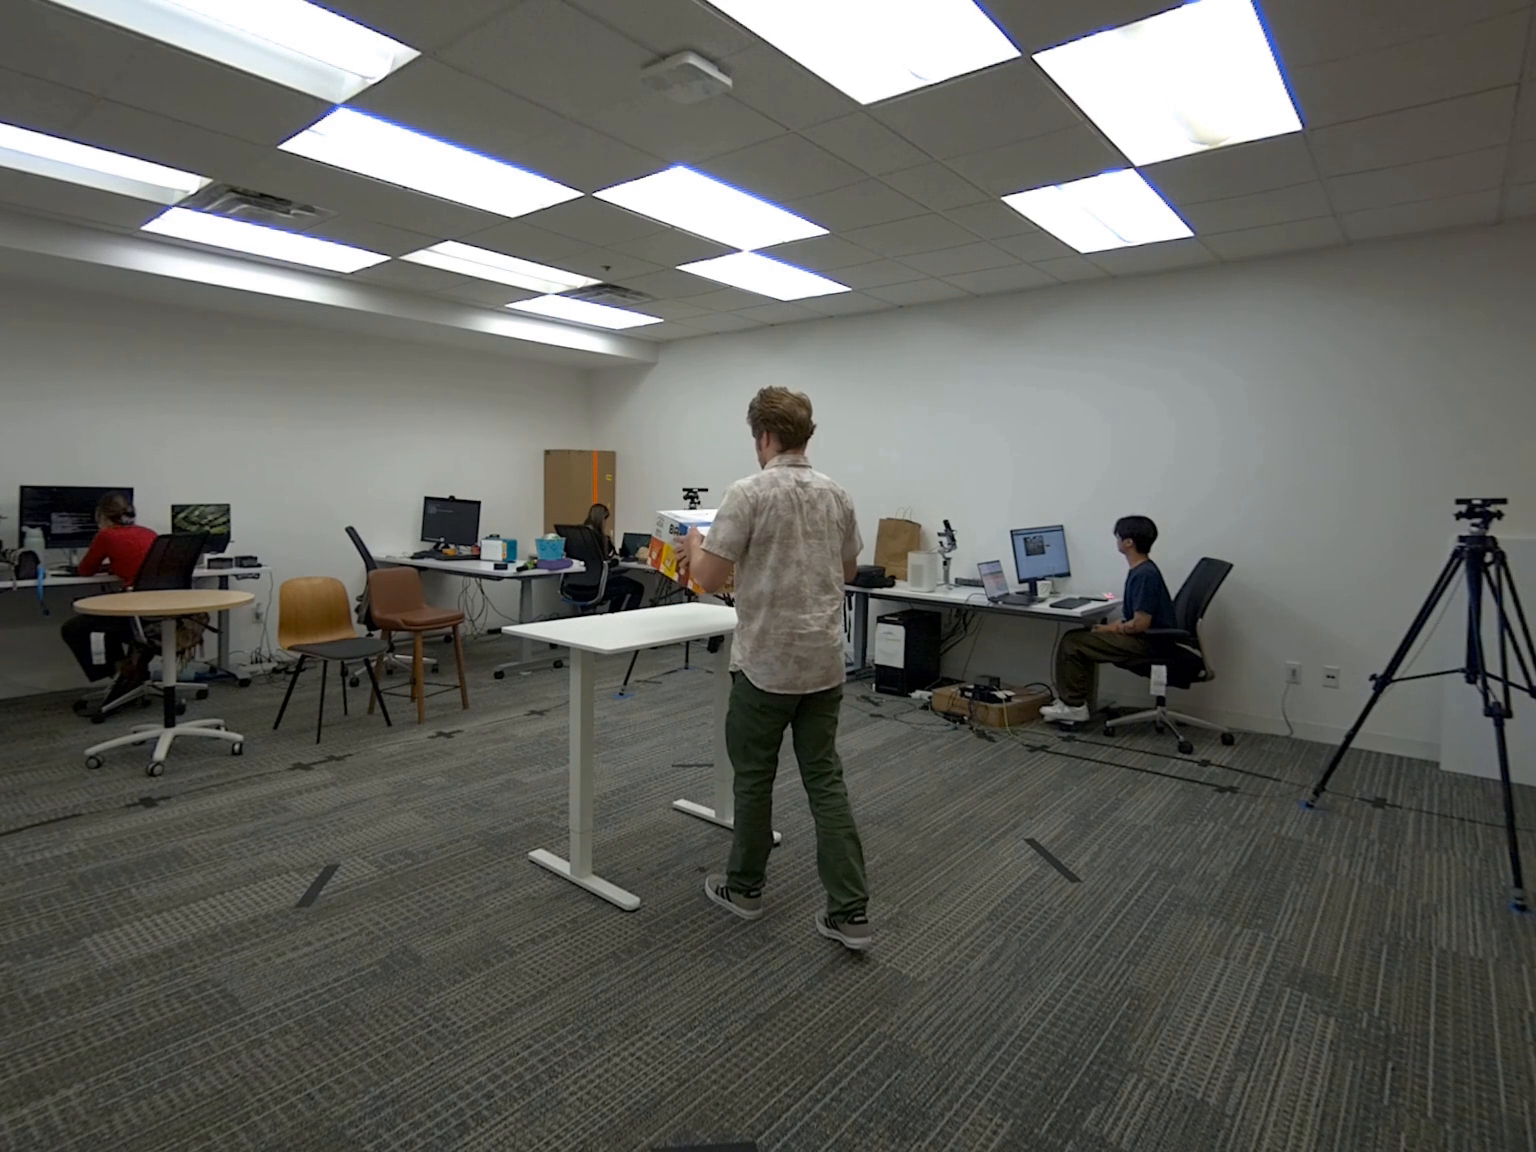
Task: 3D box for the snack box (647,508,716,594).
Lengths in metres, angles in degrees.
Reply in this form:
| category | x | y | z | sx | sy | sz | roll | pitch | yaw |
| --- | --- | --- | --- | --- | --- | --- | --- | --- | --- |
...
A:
| category | x | y | z | sx | sy | sz | roll | pitch | yaw |
| --- | --- | --- | --- | --- | --- | --- | --- | --- | --- |
| snack box | -0.176 | -0.097 | 3.089 | 0.393 | 0.203 | 0.354 | -5 | 22 | -42 |
